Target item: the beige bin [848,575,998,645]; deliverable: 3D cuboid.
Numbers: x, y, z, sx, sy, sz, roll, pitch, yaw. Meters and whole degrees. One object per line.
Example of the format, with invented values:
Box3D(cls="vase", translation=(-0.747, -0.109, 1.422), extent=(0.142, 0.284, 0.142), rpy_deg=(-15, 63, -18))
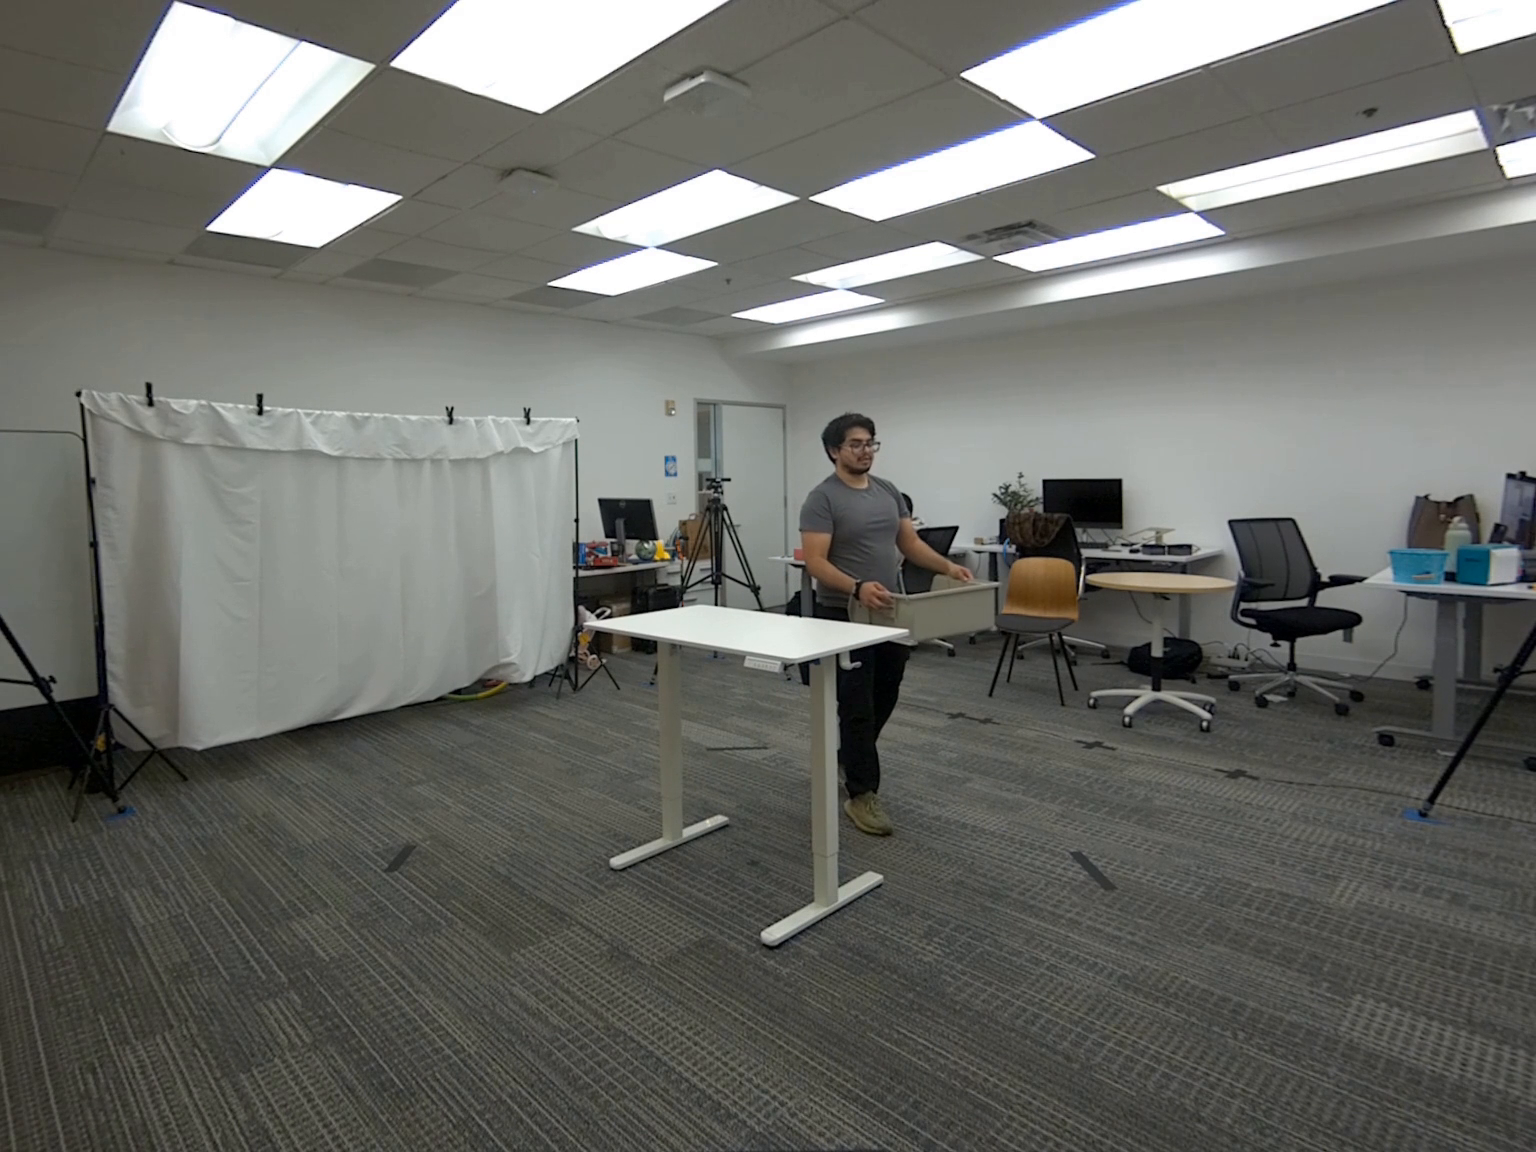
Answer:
Box3D(cls="beige bin", translation=(0.573, 0.111, 3.252), extent=(0.413, 0.188, 0.387), rpy_deg=(-6, 8, -26))
